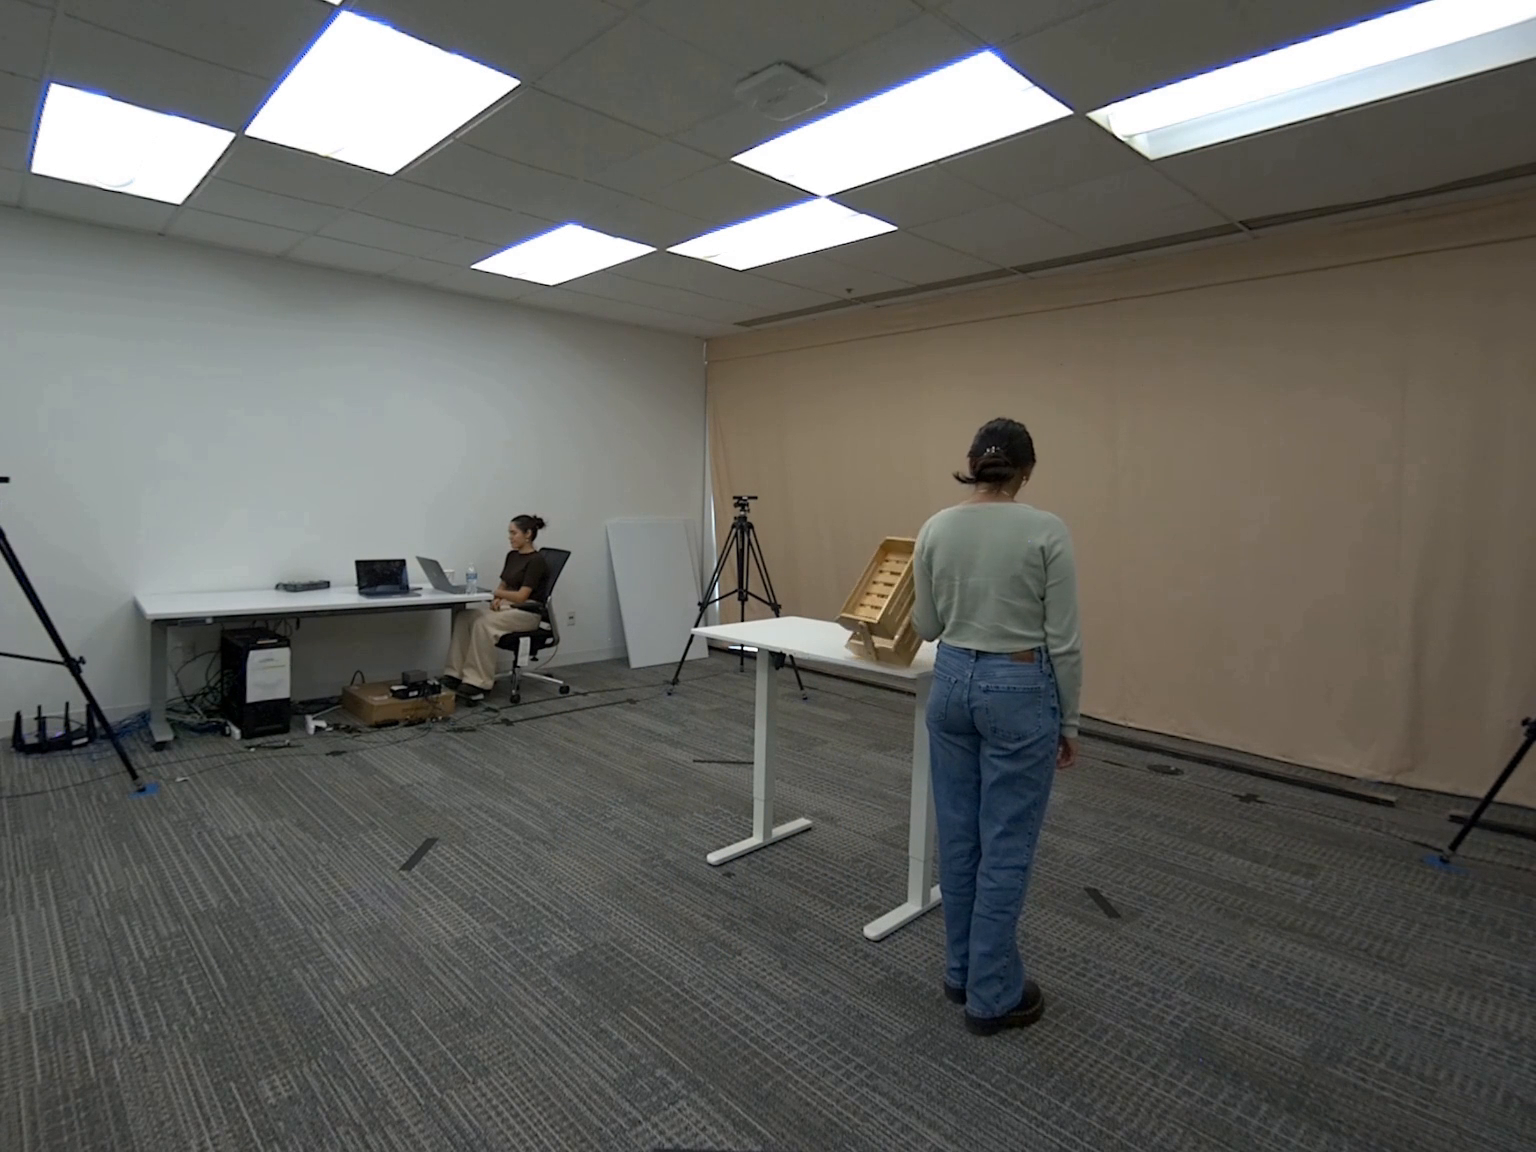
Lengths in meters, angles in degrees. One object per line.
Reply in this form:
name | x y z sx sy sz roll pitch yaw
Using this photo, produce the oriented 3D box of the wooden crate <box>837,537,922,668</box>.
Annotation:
wooden crate | 0.361 0.074 2.632 0.310 0.325 0.265 7 -31 51
